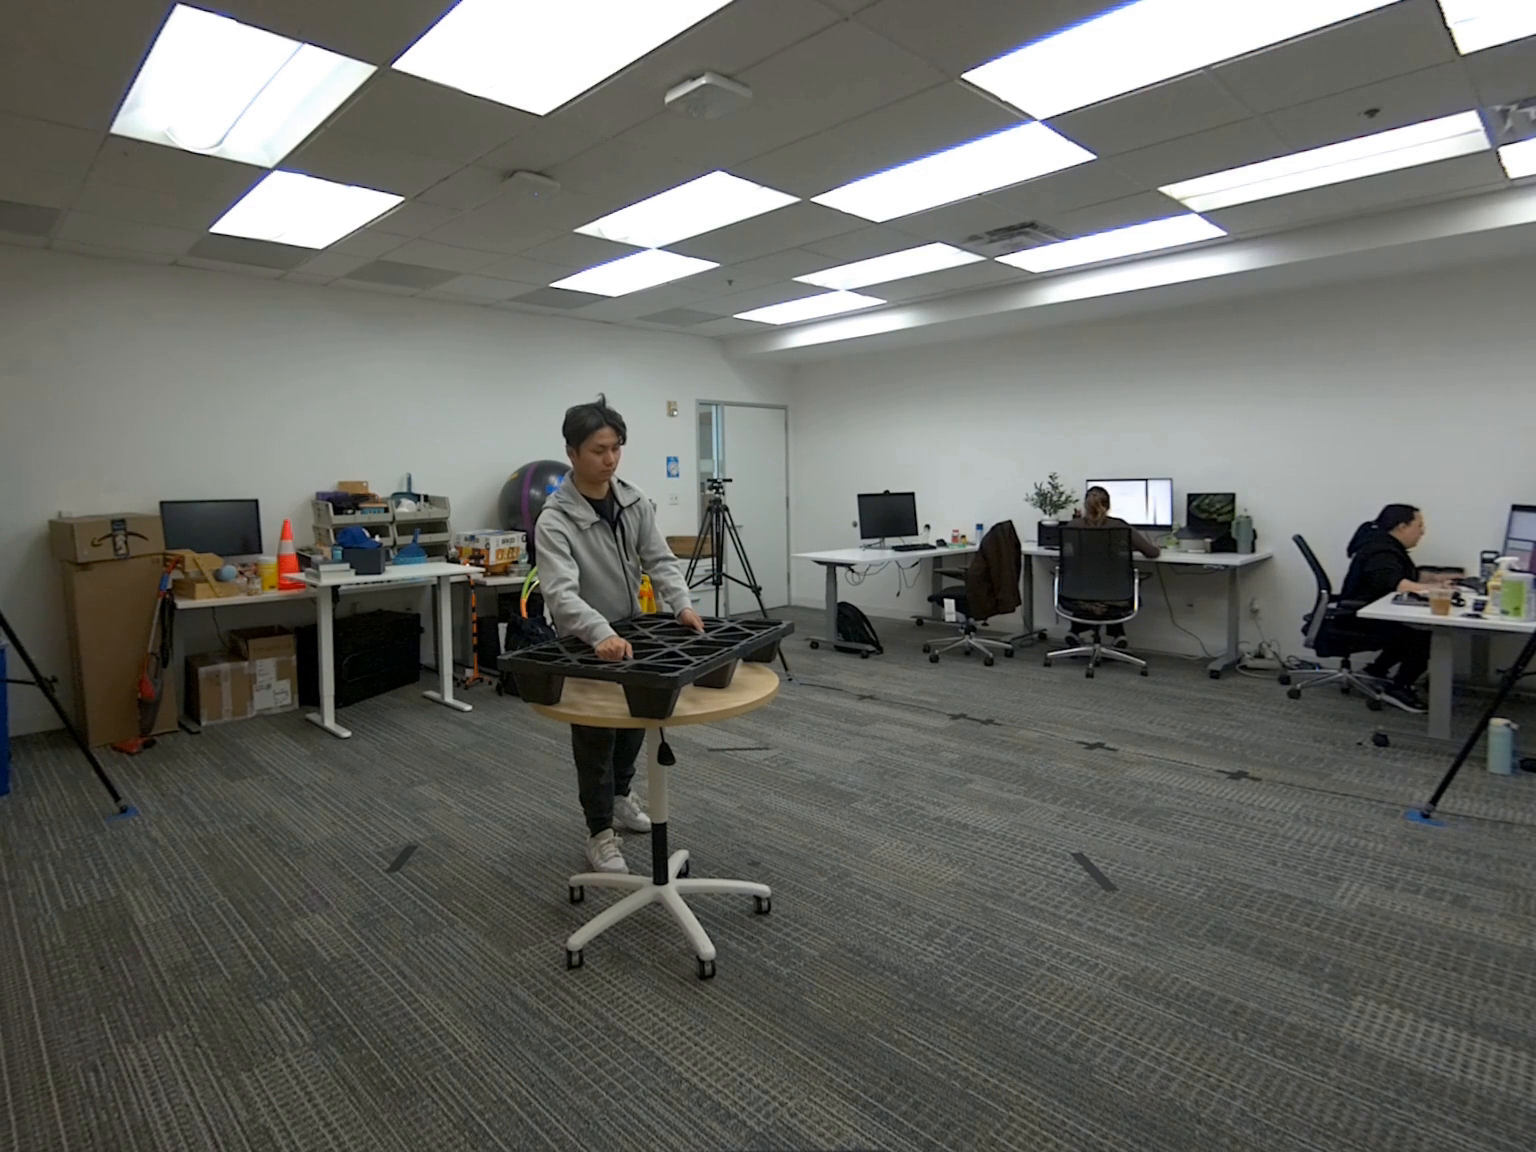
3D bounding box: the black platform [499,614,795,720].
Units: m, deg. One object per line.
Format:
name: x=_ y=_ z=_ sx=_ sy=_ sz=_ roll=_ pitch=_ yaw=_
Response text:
black platform: x=-0.349 y=0.253 z=2.636 sx=0.620 sy=0.143 sz=0.790 roll=1 pitch=6 yaw=26
